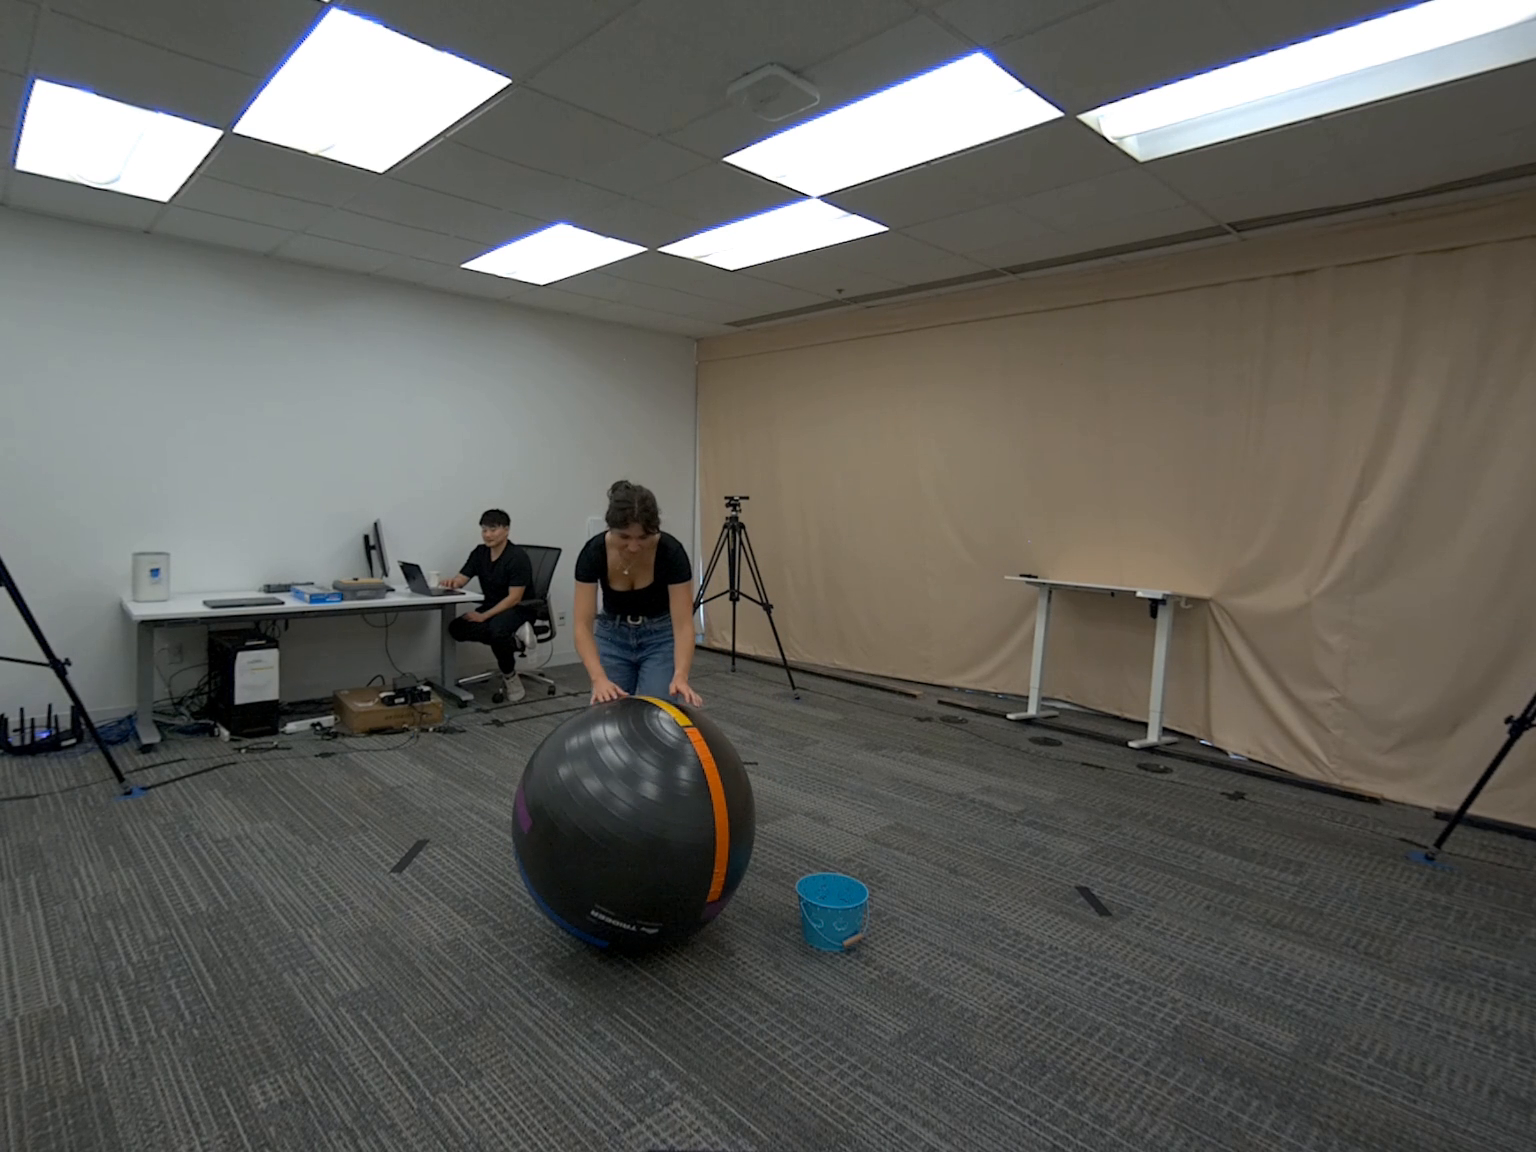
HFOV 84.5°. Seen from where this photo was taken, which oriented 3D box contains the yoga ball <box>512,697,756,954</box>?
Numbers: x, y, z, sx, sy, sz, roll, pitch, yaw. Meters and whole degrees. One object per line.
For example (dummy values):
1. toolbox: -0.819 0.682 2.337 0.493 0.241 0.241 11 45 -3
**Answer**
1. yoga ball: -0.424 0.769 2.638 0.757 0.756 0.761 1 4 -1
